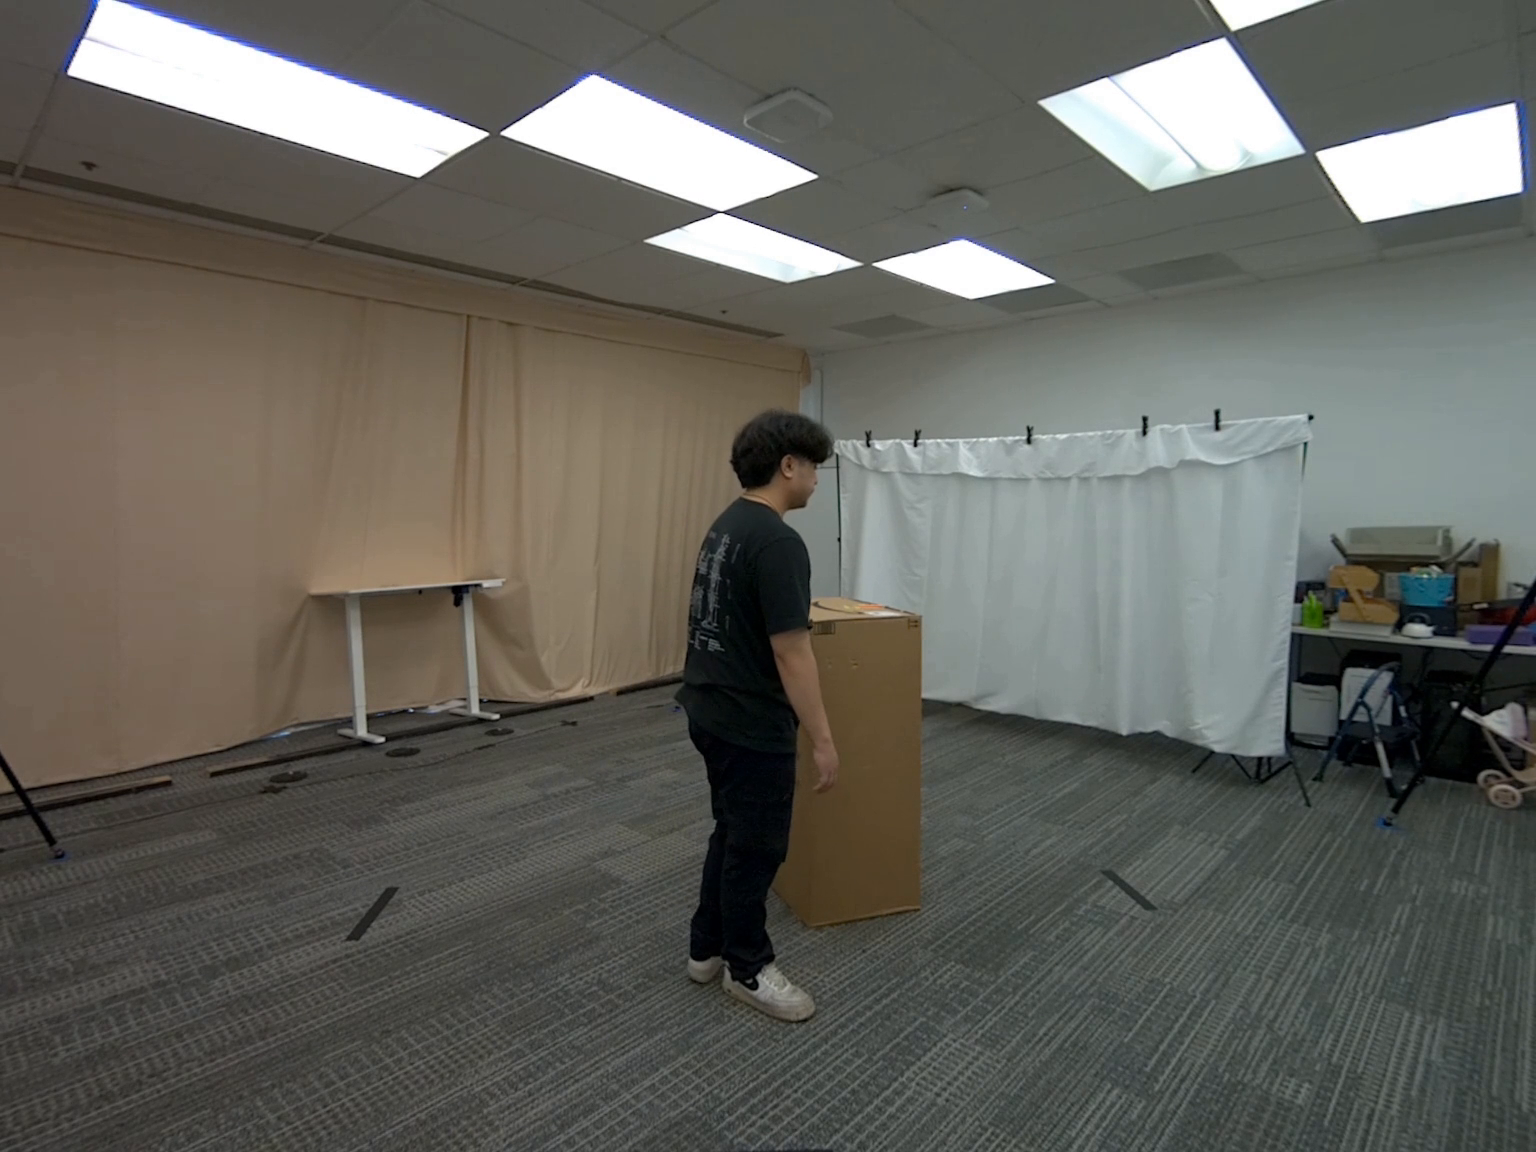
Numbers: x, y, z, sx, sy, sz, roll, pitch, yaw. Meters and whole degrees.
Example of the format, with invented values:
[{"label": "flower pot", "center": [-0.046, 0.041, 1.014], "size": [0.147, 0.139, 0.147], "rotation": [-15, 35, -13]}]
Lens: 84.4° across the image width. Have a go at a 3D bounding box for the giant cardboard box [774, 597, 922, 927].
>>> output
[{"label": "giant cardboard box", "center": [0.230, 0.623, 3.079], "size": [0.438, 1.025, 0.597], "rotation": [-1, 3, -21]}]
